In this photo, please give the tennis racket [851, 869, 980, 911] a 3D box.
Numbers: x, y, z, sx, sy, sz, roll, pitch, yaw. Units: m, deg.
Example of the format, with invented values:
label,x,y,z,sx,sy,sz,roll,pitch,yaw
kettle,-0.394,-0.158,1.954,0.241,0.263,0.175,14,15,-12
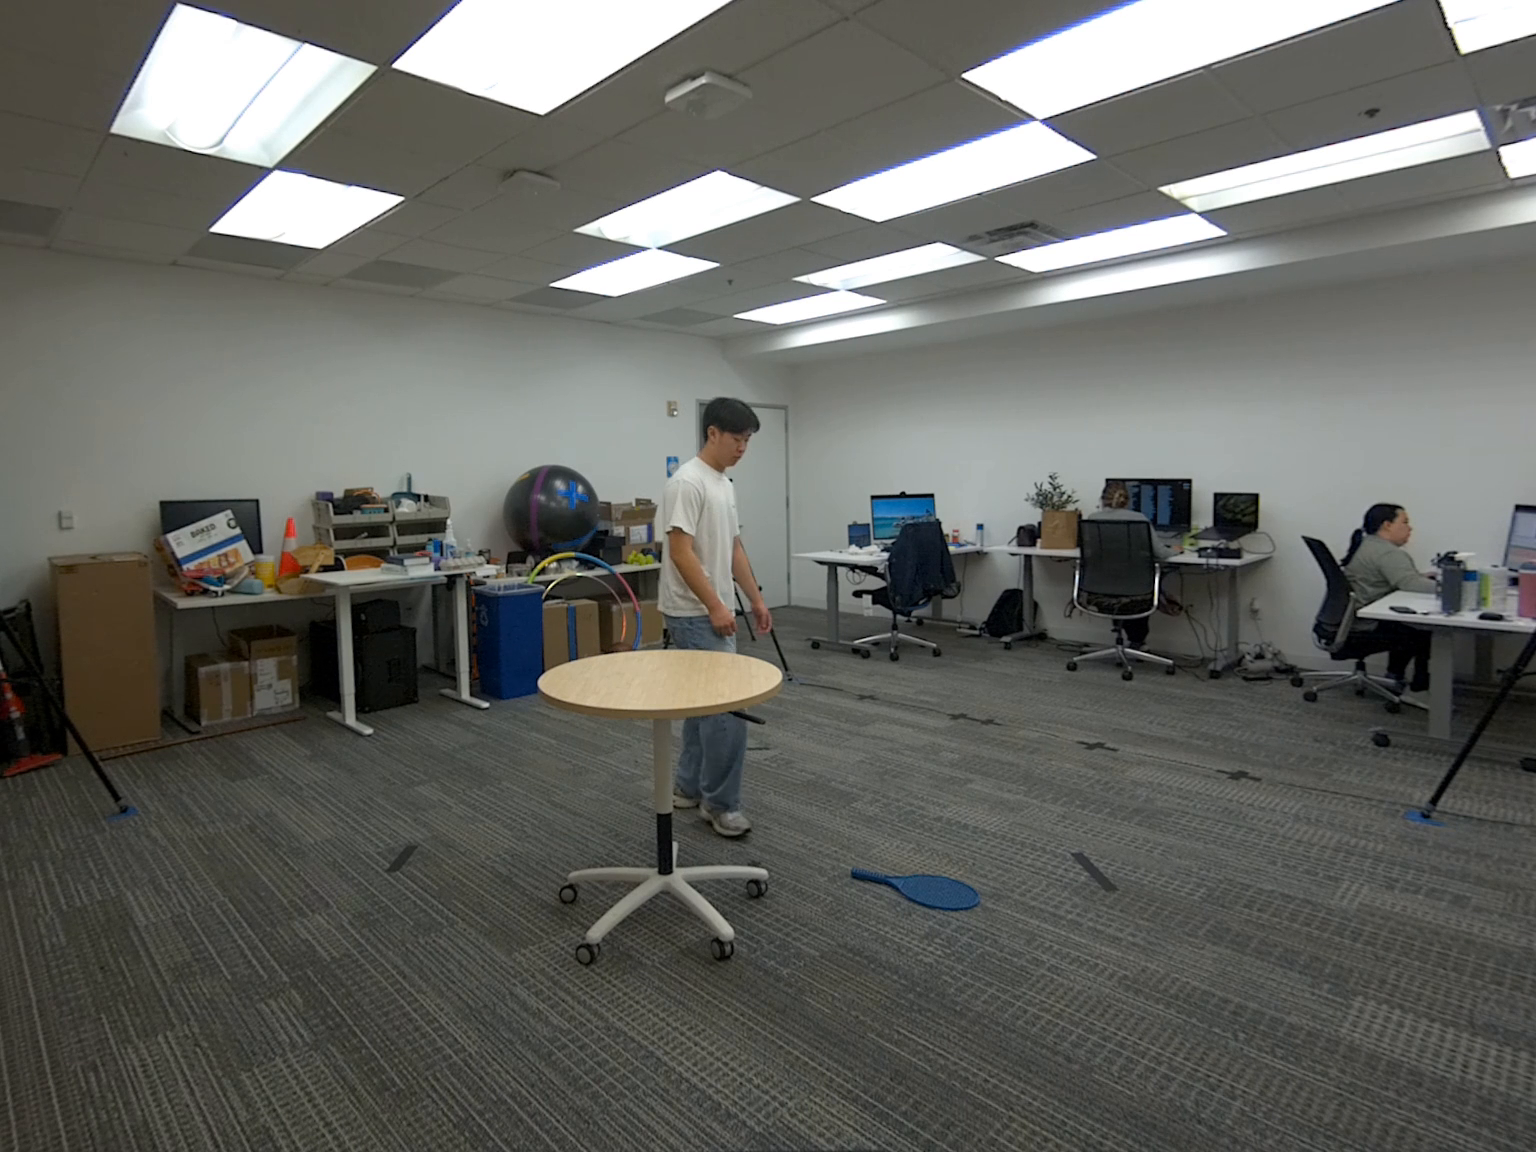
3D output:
label,x,y,z,sx,sy,sz,roll,pitch,yaw
tennis racket,0.496,1.047,2.890,0.444,0.031,0.209,4,7,27
